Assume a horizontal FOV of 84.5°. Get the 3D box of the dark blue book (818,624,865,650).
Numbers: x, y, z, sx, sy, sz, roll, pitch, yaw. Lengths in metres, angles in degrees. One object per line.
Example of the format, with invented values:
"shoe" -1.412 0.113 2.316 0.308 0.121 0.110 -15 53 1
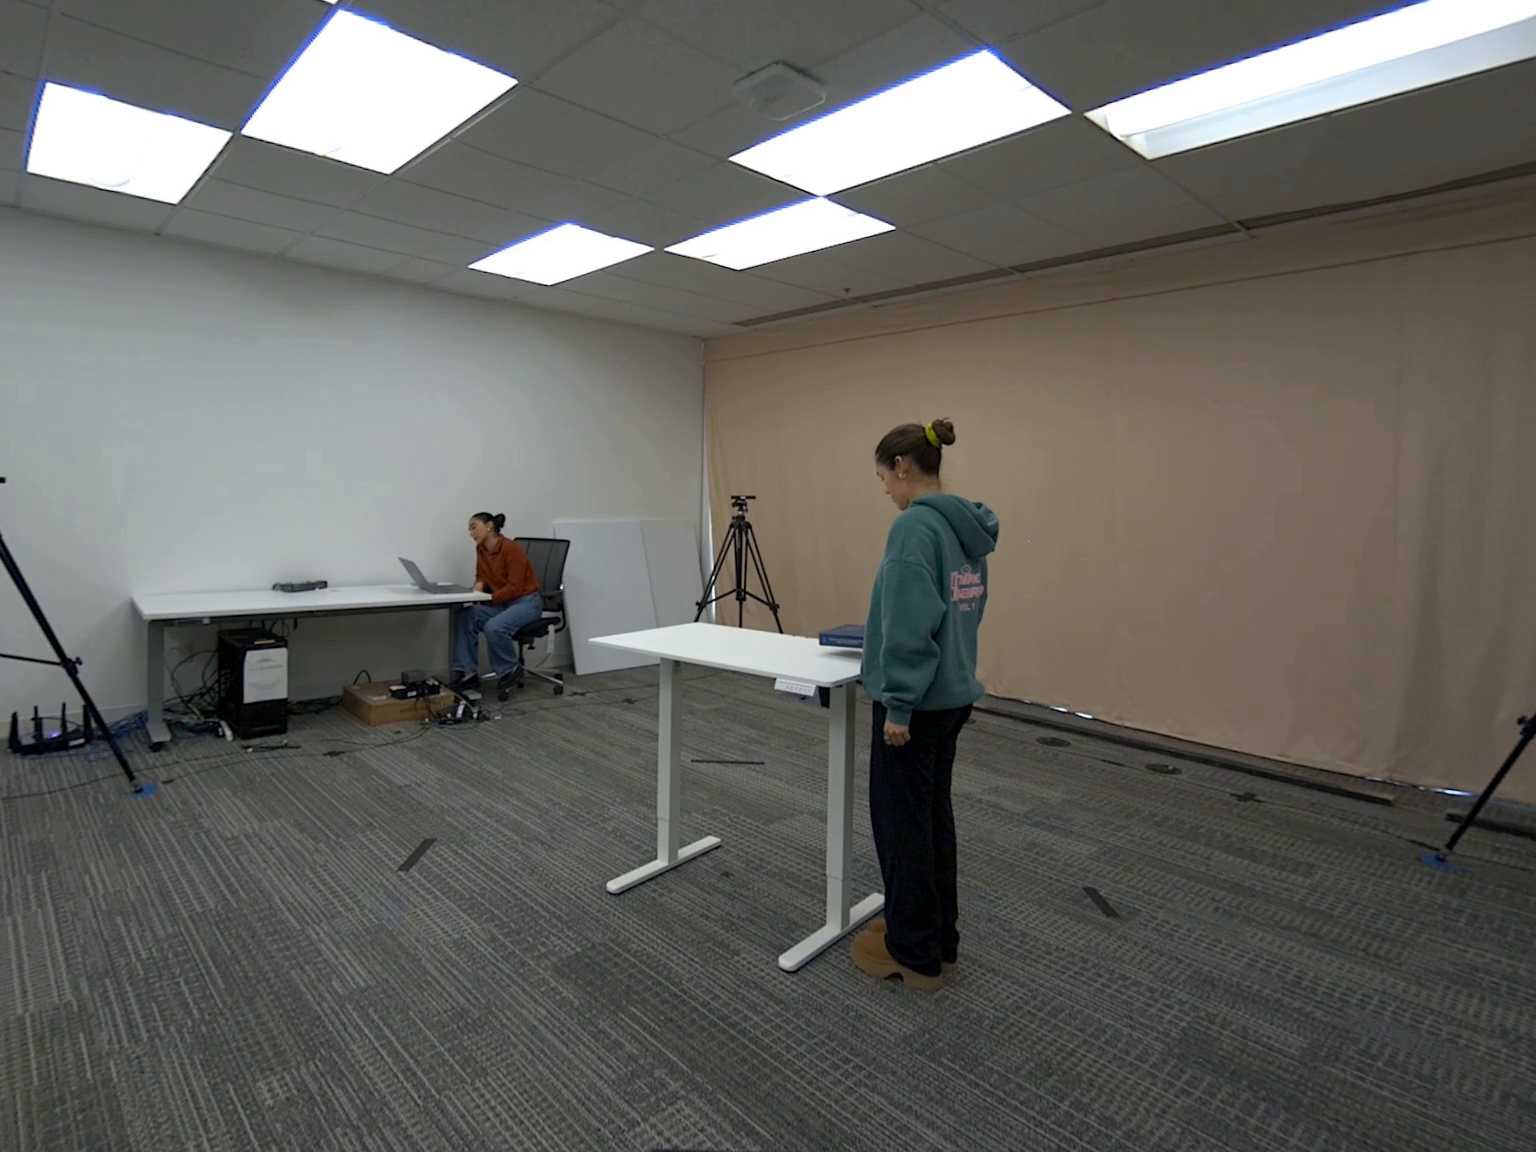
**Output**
"dark blue book" 0.308 0.205 2.731 0.251 0.045 0.160 2 9 44
